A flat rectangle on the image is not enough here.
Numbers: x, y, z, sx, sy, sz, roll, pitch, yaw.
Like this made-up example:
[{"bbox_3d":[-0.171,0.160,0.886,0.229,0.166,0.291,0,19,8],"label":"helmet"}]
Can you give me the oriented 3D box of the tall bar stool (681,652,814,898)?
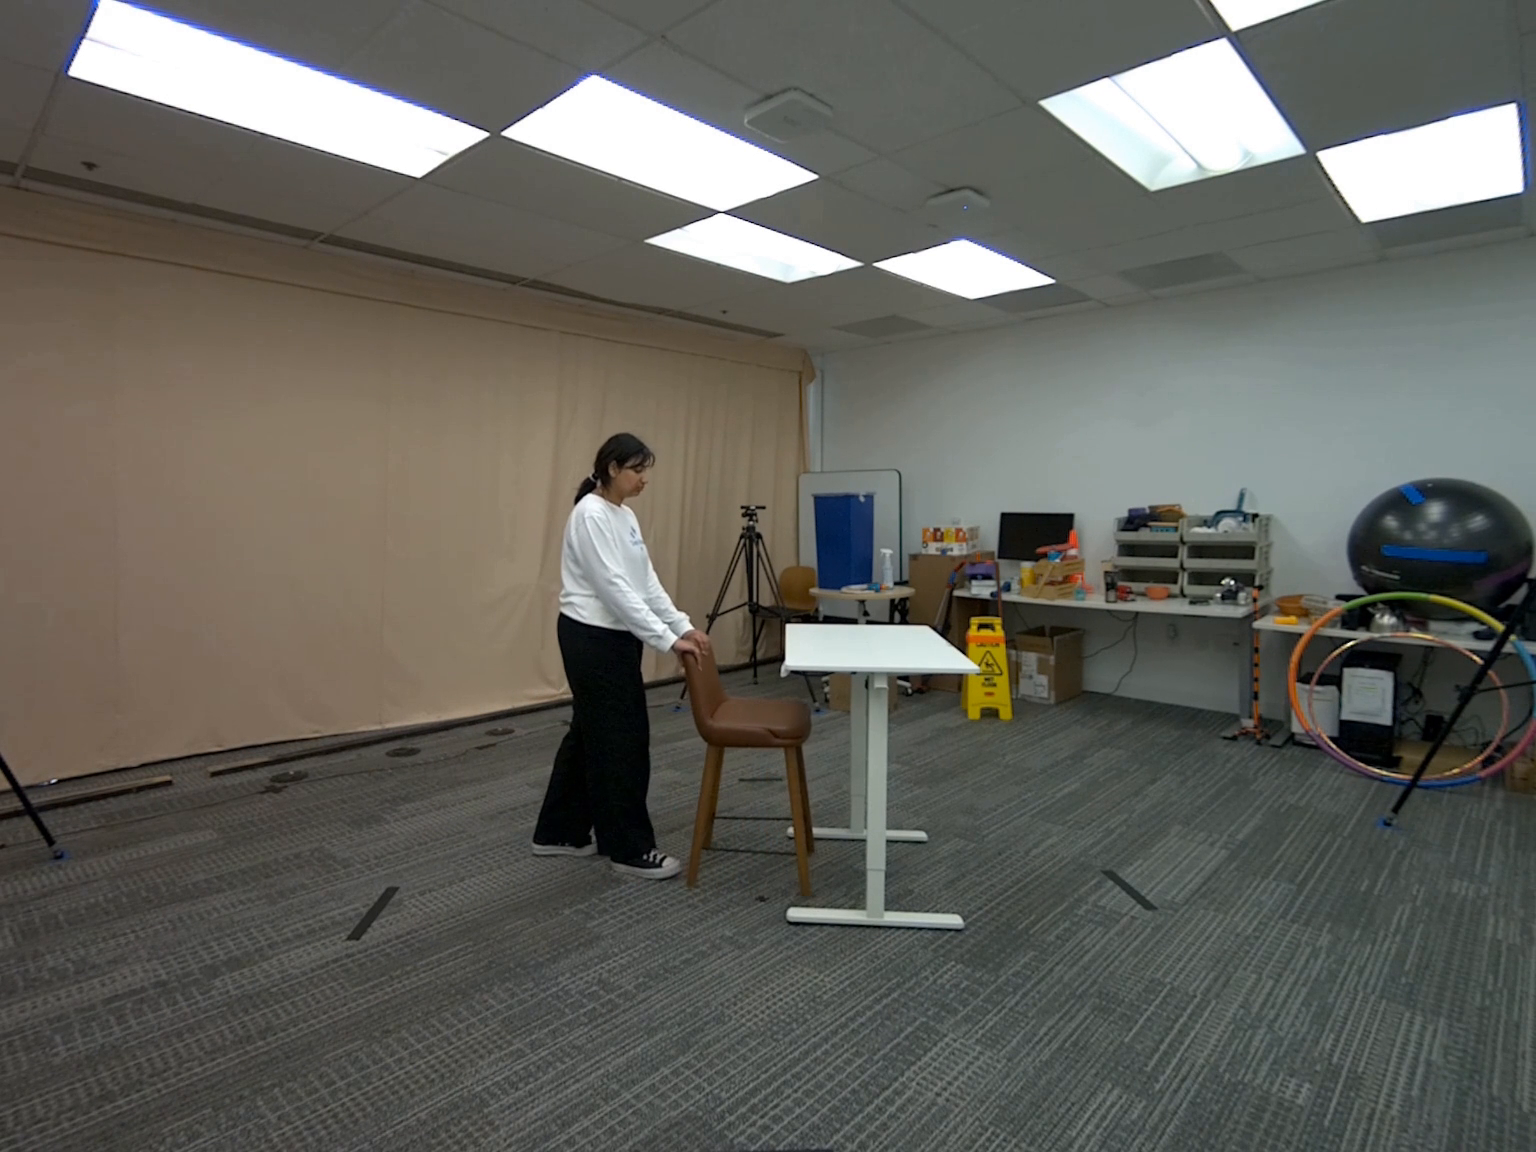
[{"bbox_3d":[-0.064,0.691,3.201,0.472,0.888,0.453,-3,3,9],"label":"tall bar stool"}]
